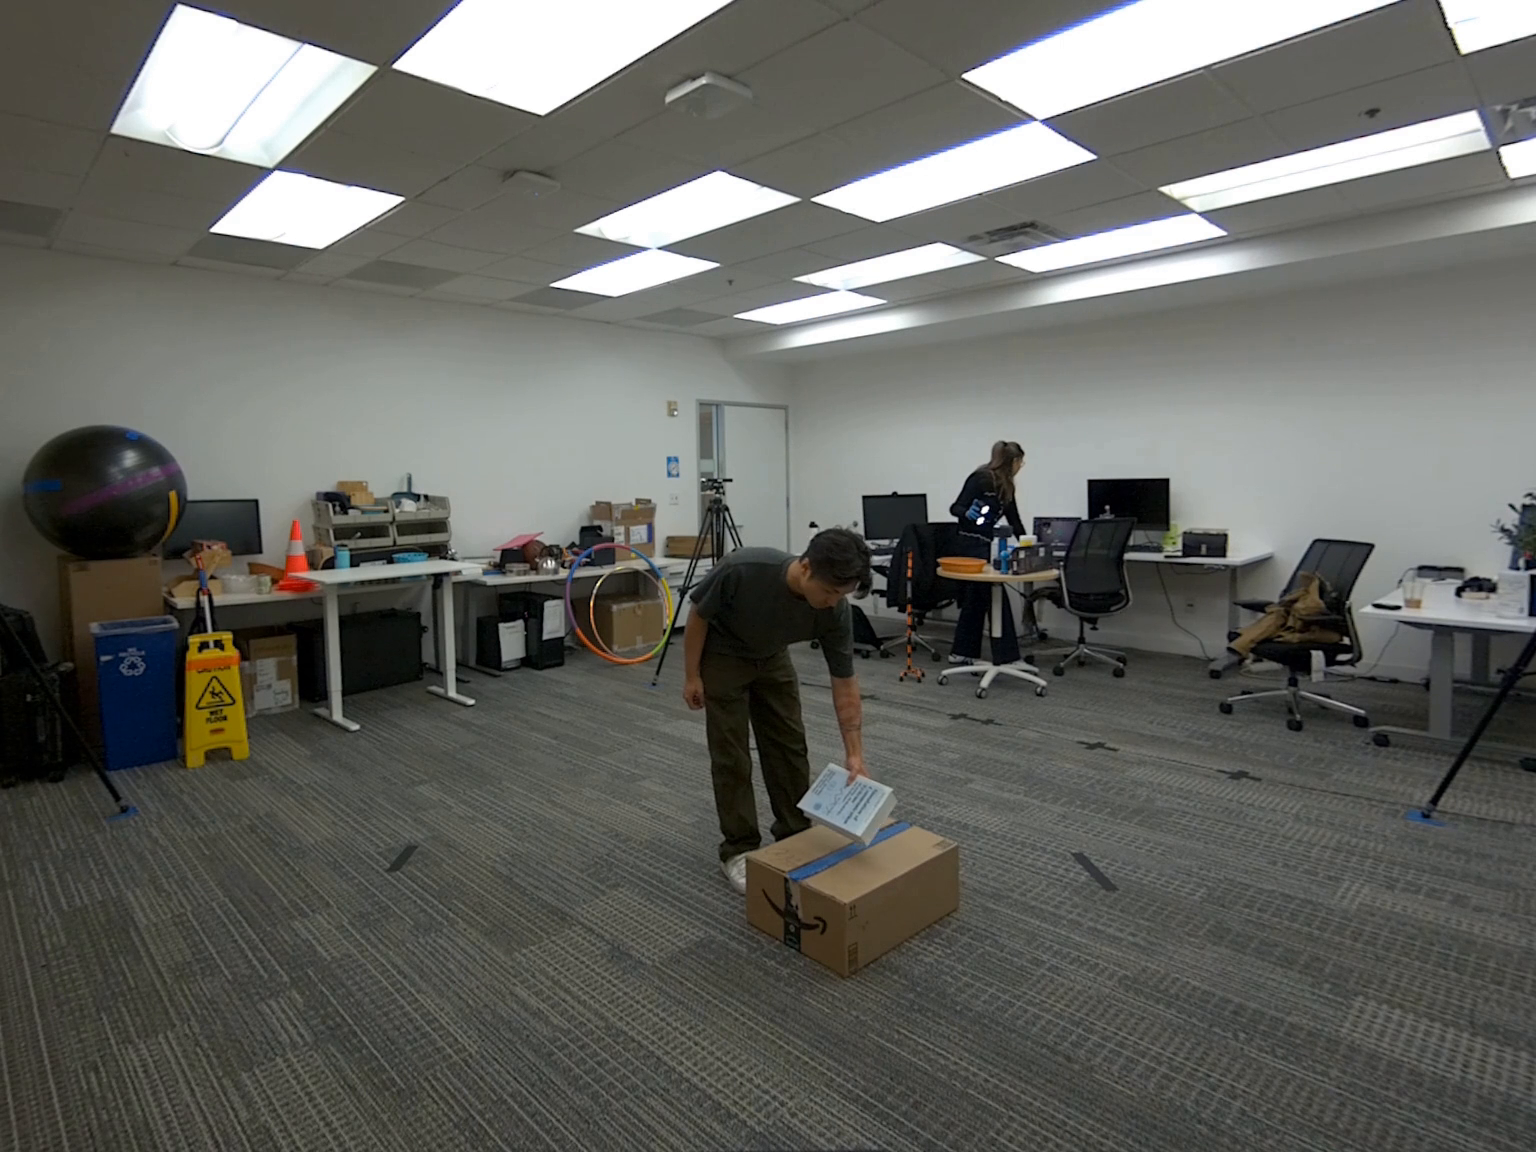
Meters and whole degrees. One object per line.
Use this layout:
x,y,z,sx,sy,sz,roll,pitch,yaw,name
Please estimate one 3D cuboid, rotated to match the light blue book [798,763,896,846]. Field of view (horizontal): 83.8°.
0.251,0.718,2.698,0.270,0.057,0.191,11,50,46,light blue book
